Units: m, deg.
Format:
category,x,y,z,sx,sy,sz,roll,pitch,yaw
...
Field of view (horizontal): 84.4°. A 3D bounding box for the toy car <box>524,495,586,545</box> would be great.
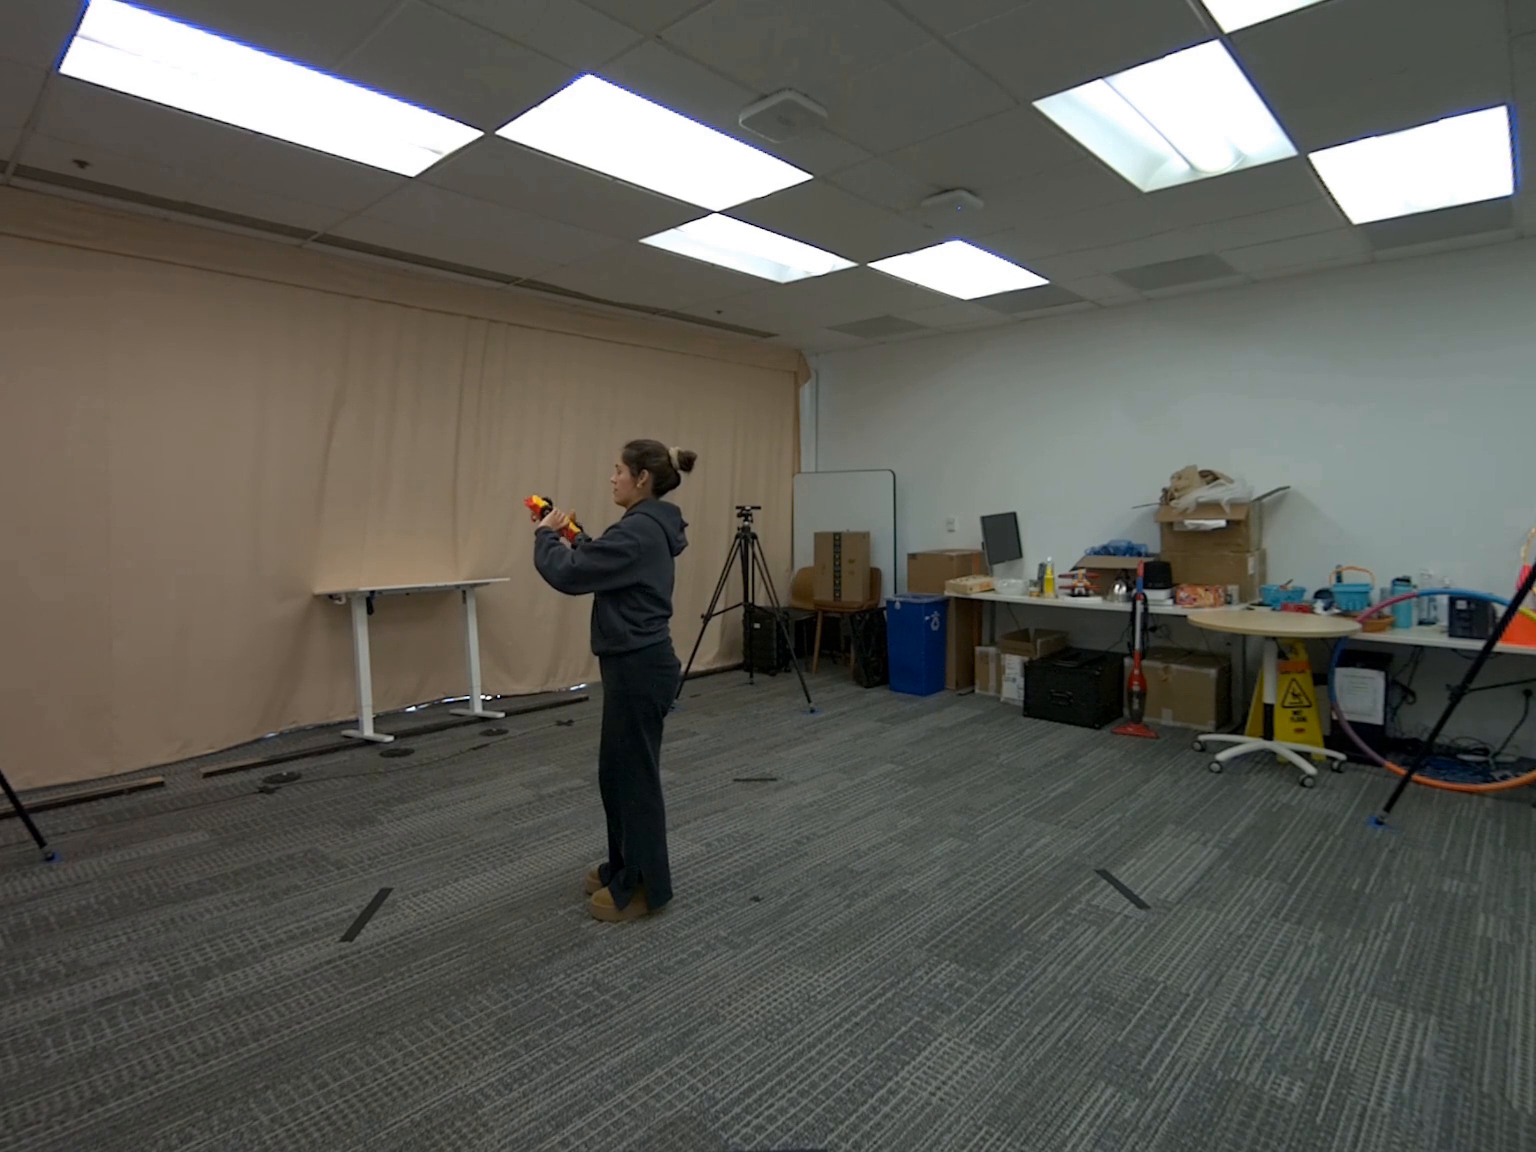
category,x,y,z,sx,sy,sz,roll,pitch,yaw
toy car,-0.730,-0.196,2.929,0.247,0.083,0.134,29,12,-26
